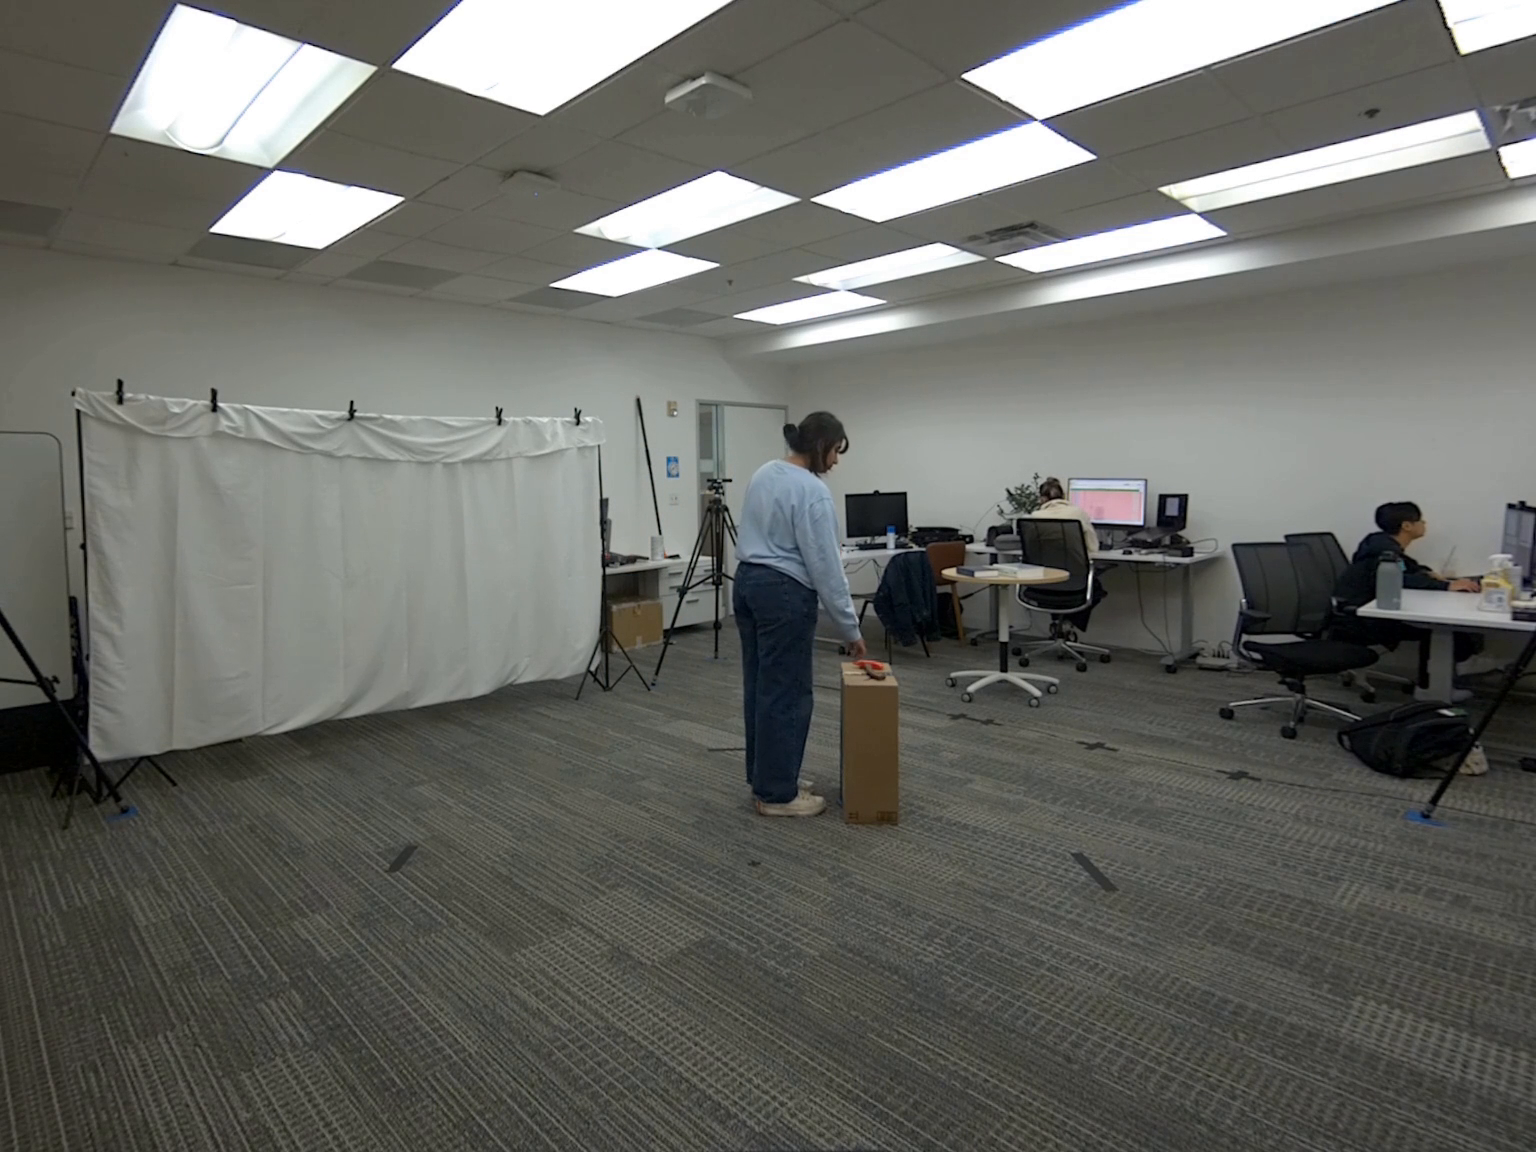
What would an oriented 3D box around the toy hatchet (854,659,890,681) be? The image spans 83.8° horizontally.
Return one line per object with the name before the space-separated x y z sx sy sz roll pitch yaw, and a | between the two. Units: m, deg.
toy hatchet | 0.464 0.398 3.608 0.129 0.029 0.275 3 7 -16
